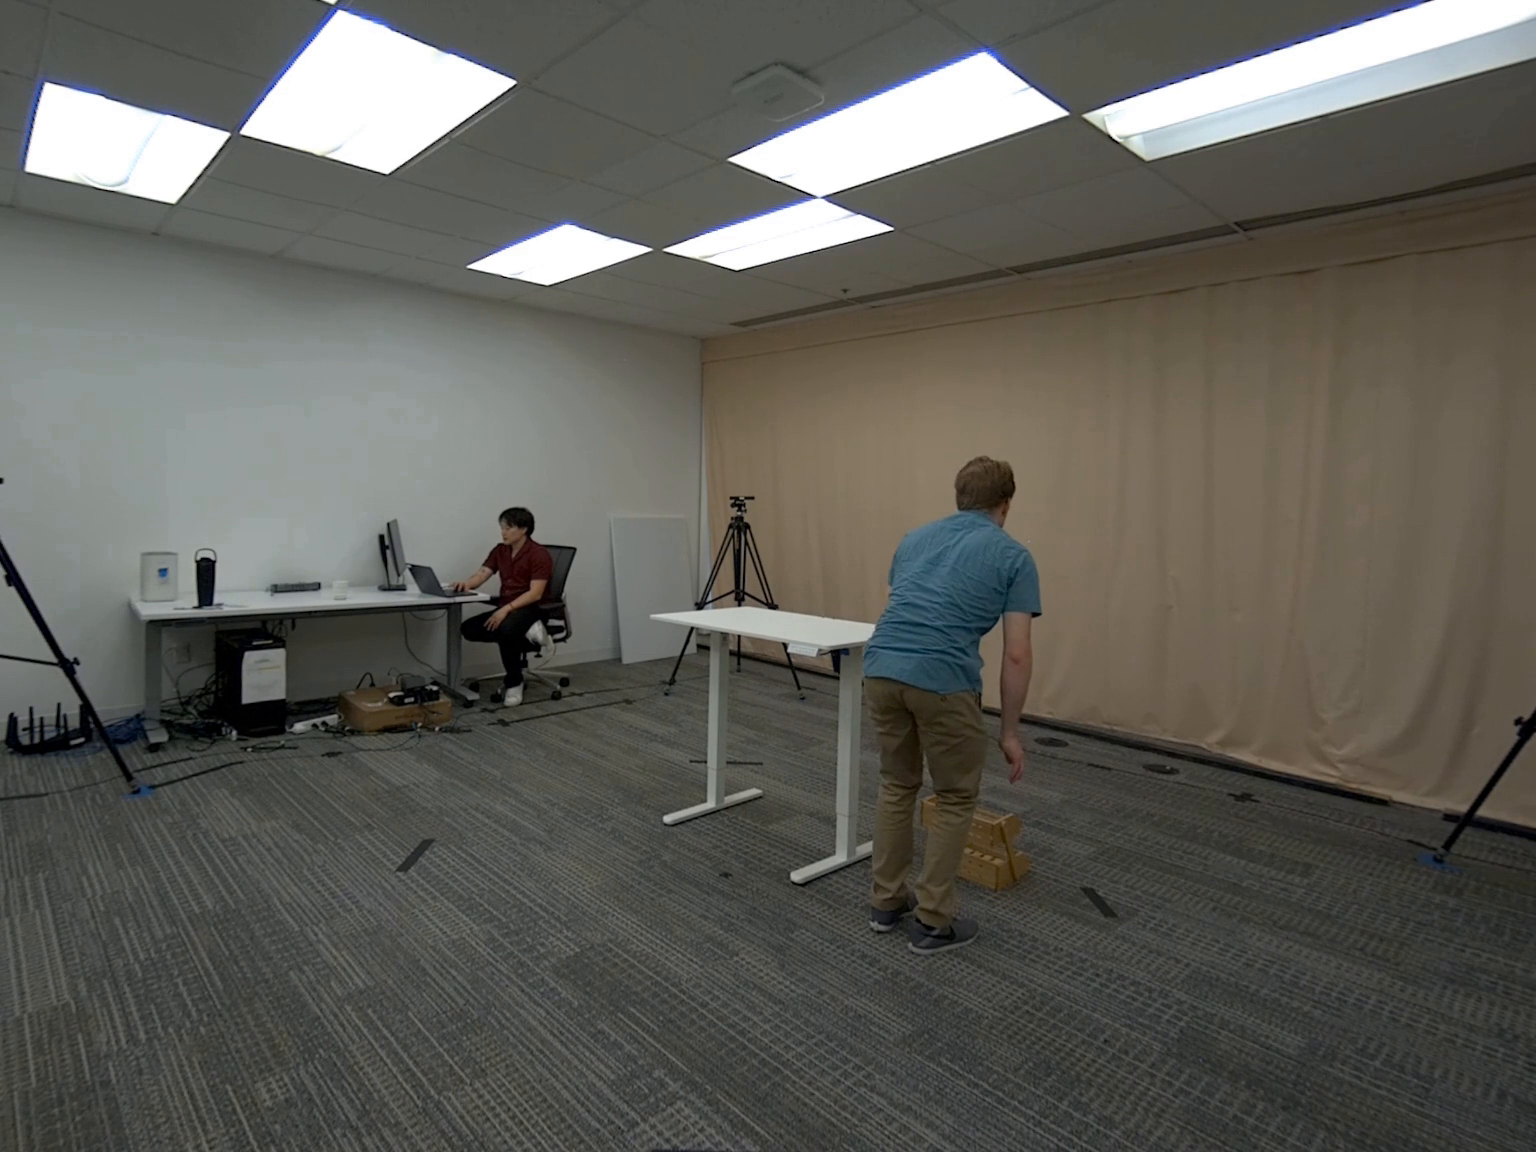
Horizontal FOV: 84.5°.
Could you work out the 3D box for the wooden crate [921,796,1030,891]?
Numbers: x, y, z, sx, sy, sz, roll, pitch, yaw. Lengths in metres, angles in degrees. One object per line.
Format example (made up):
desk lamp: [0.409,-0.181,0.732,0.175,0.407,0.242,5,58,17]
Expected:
wooden crate: [0.784,0.984,3.206,0.333,0.272,0.295,6,7,44]
